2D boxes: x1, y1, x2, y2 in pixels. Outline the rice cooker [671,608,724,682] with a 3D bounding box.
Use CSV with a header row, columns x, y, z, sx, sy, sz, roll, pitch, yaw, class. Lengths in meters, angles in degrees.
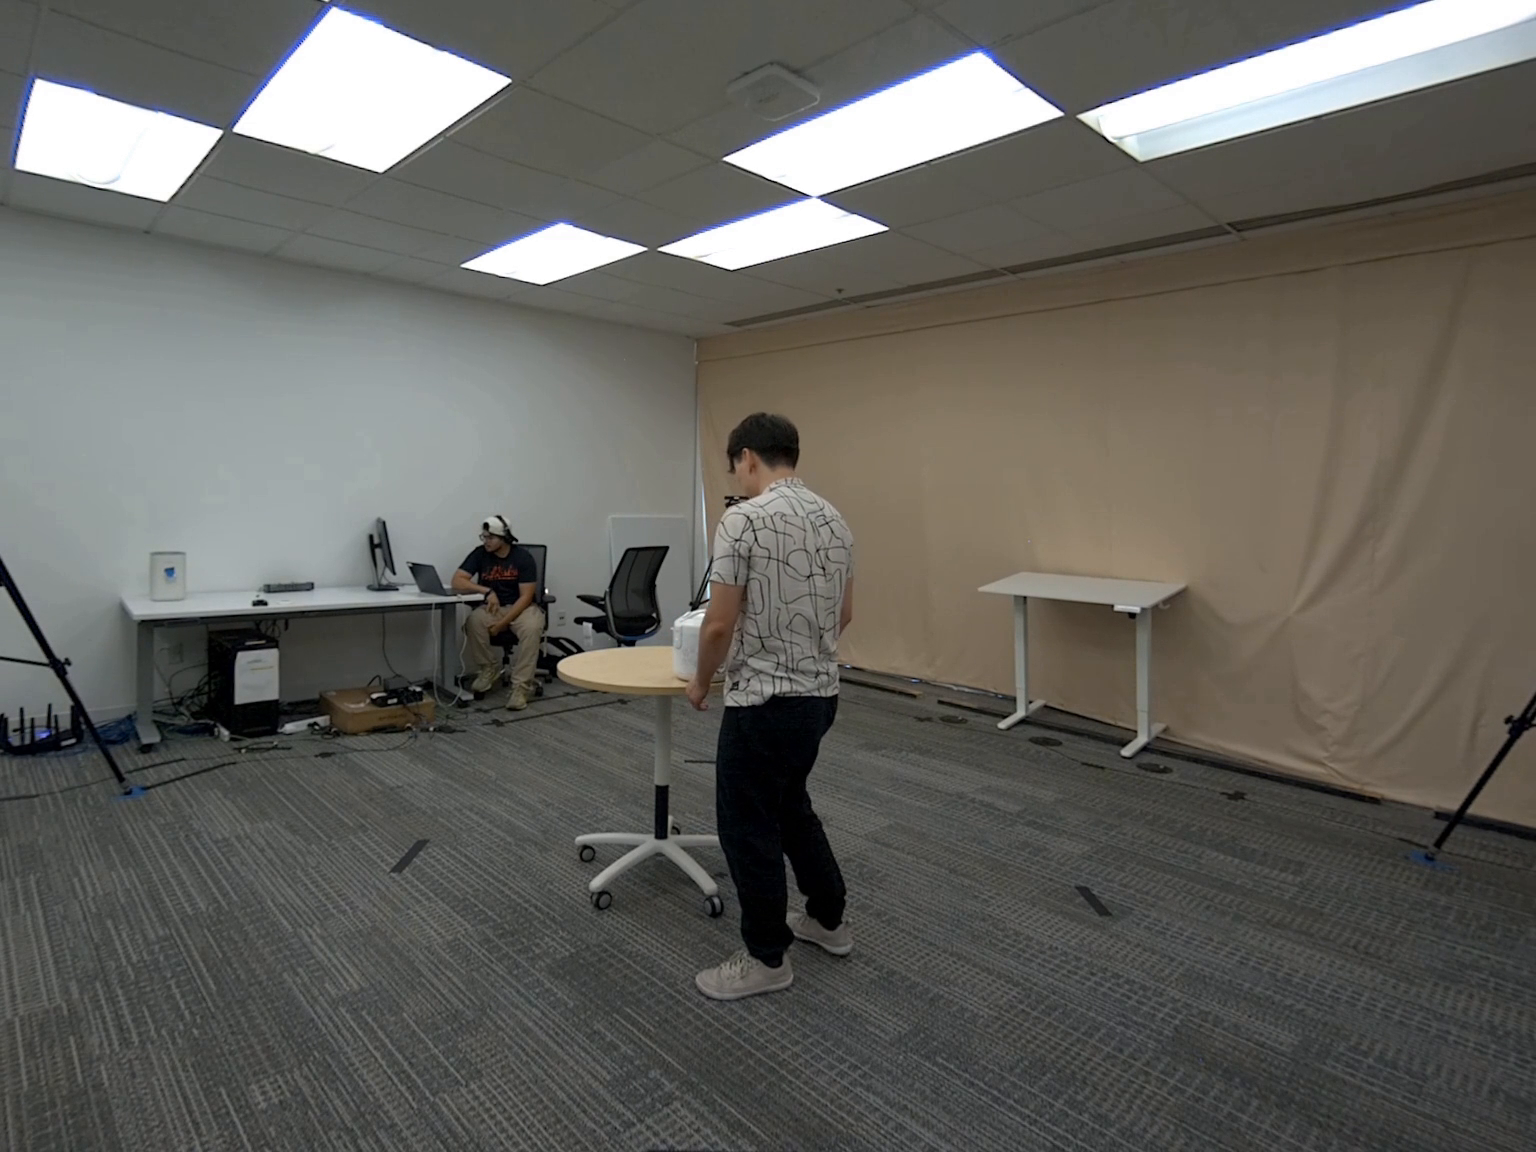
x,y,z,sx,sy,sz,roll,pitch,yaw,class
-0.219,0.228,2.820,0.216,0.232,0.223,-2,4,-36,rice cooker
